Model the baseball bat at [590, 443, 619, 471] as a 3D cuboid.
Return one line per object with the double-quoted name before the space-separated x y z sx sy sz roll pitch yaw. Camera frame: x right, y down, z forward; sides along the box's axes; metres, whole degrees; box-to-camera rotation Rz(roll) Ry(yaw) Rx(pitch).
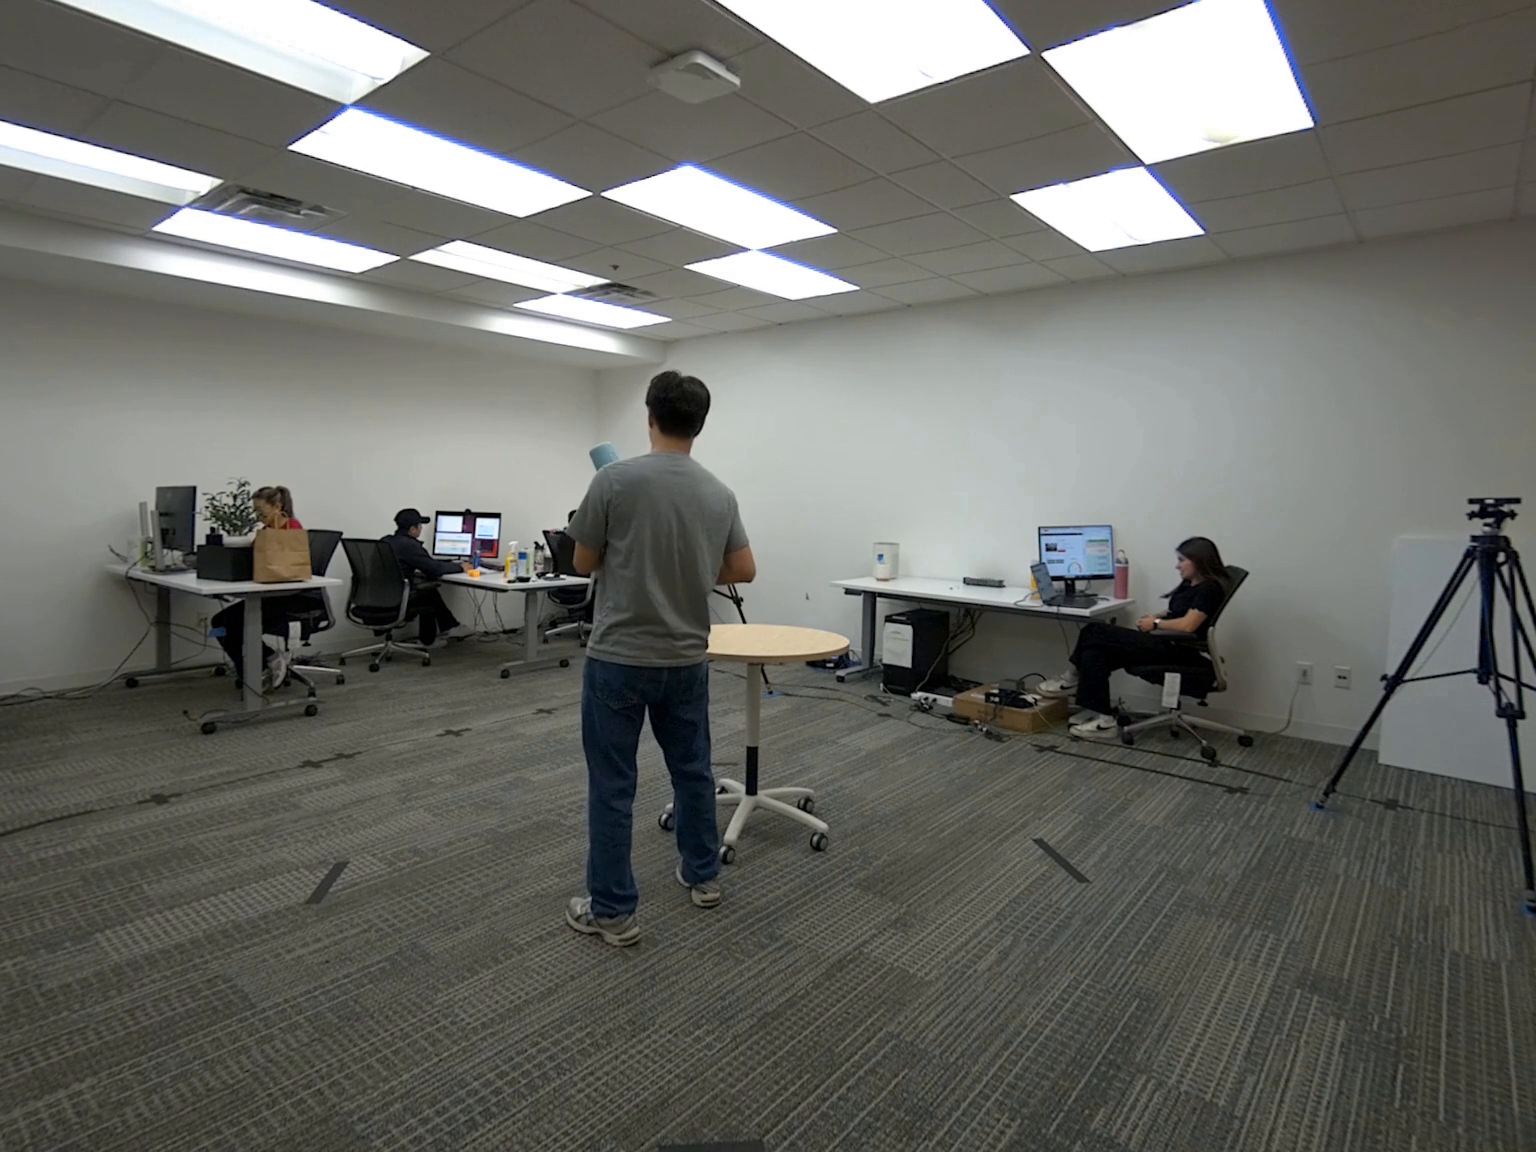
"baseball bat" -0.469 -0.207 2.955 0.089 0.544 0.089 -25 -2 -2
